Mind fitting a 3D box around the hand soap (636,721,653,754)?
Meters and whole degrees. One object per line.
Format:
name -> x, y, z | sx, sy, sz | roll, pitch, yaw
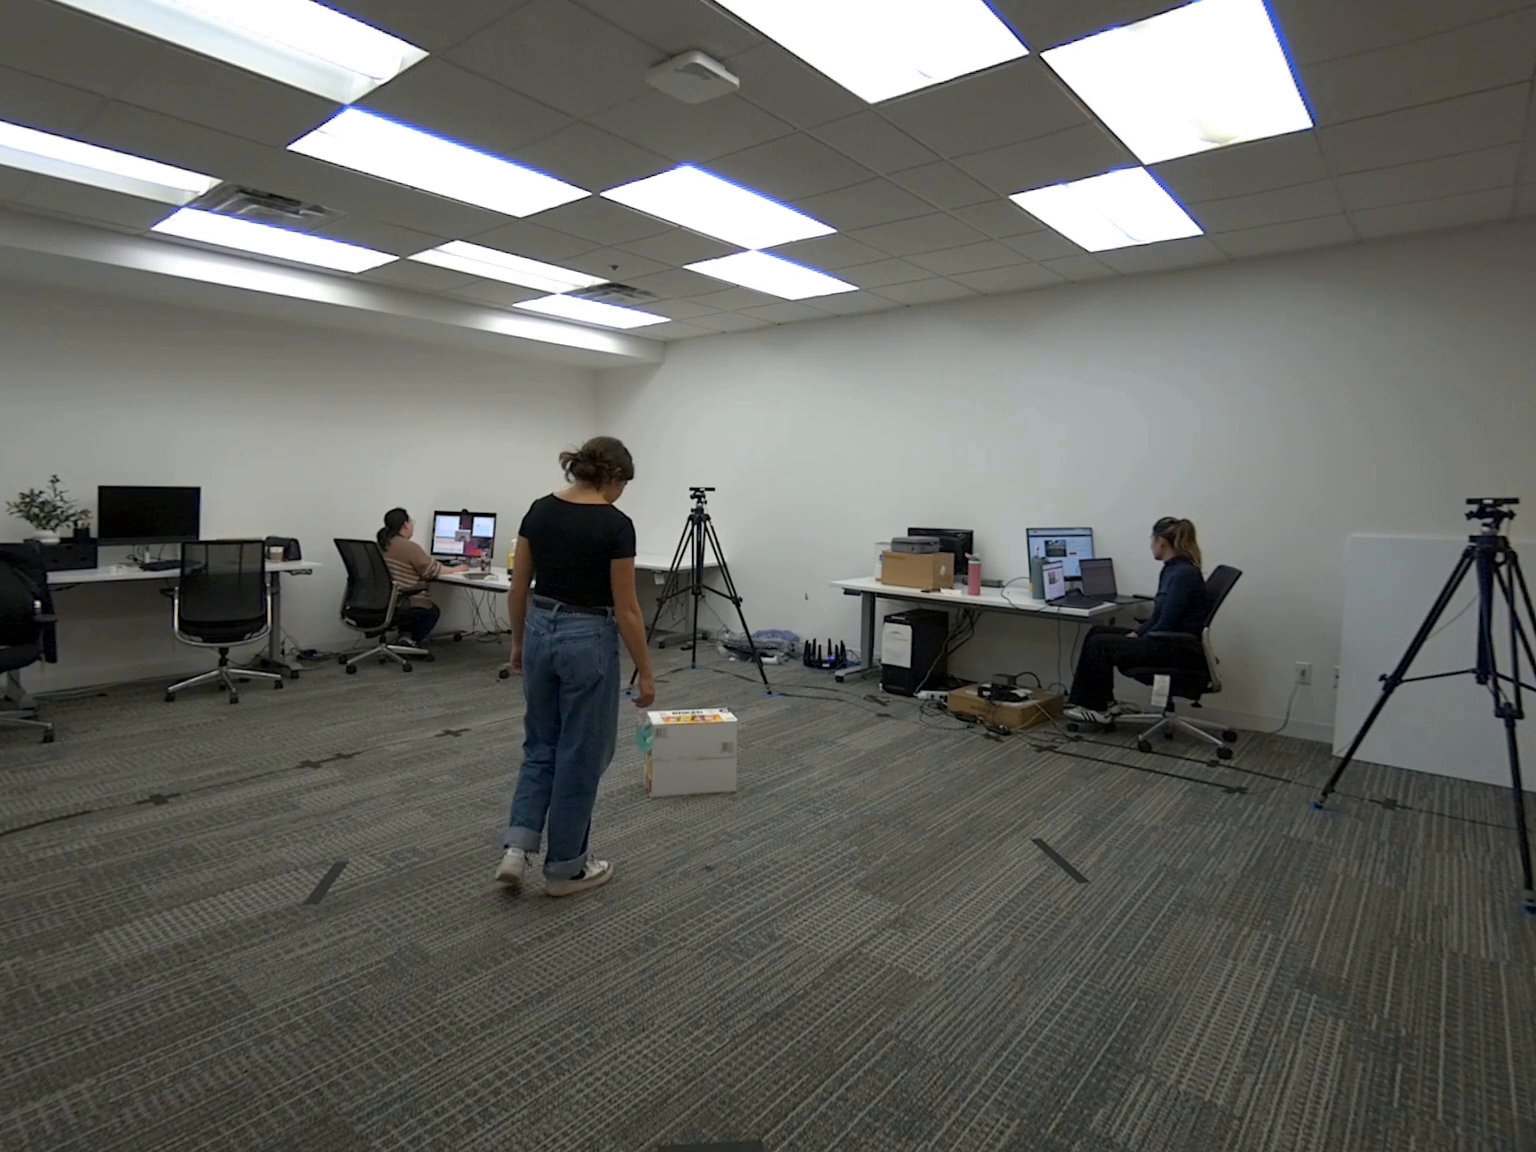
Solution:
hand soap -> -0.443, 0.512, 2.903 | 0.044, 0.168, 0.083 | -5, -1, 20
